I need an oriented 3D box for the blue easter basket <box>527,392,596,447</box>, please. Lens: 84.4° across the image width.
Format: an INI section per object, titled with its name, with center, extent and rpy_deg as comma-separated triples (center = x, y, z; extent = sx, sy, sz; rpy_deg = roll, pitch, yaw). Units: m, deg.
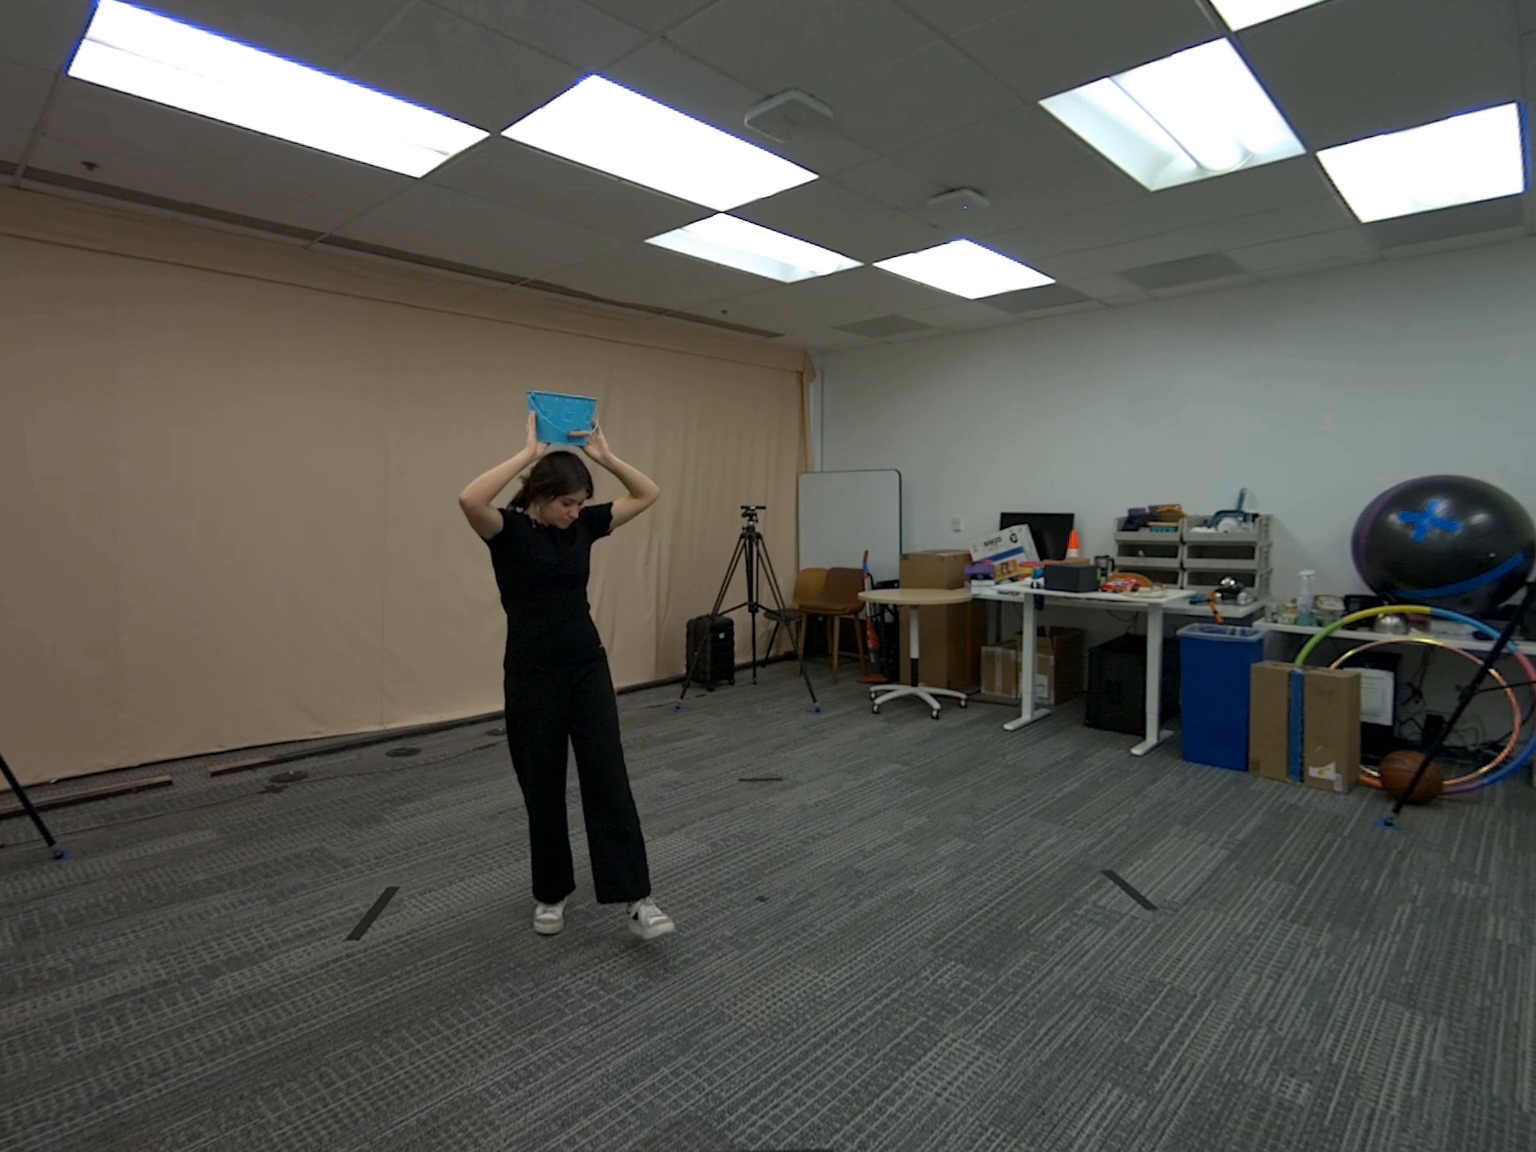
[blue easter basket]
center = -0.675, -0.502, 2.682
extent = 0.243, 0.155, 0.245
rpy_deg = 4, 6, -2
